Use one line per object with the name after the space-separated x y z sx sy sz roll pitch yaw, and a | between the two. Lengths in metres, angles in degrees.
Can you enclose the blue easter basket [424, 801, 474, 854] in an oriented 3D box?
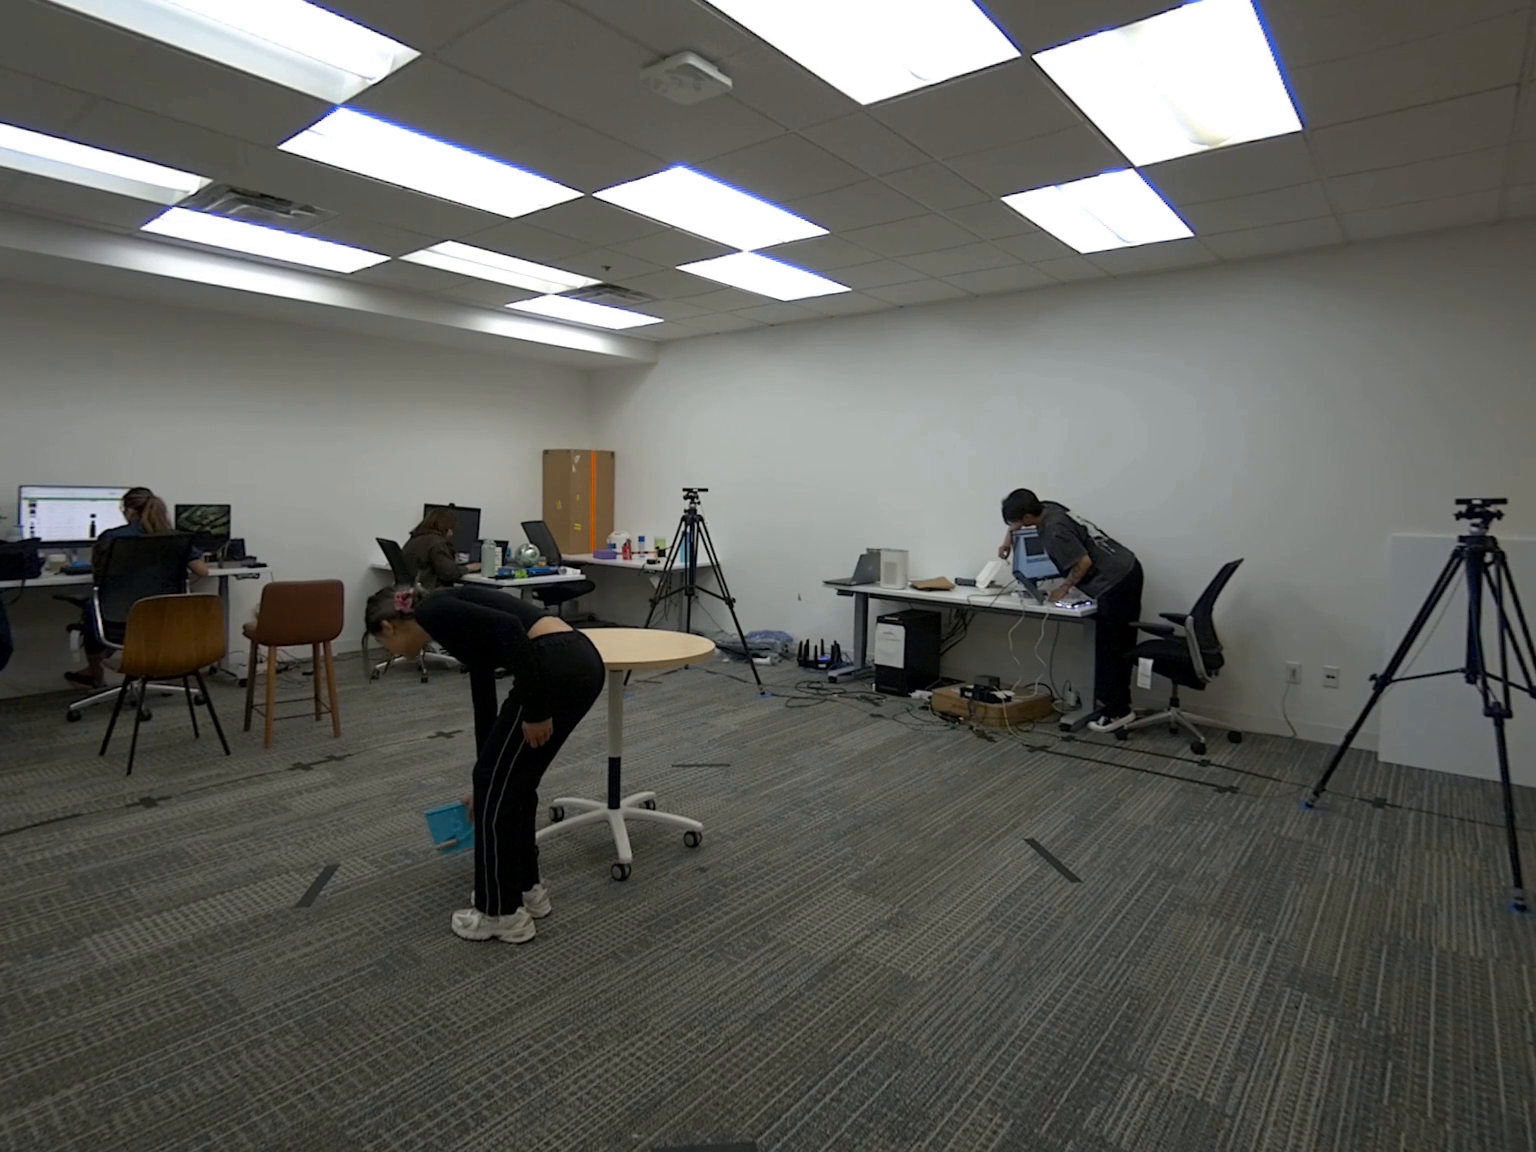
-1.121 0.869 2.996 0.243 0.157 0.242 -12 -5 -3 | blue easter basket
